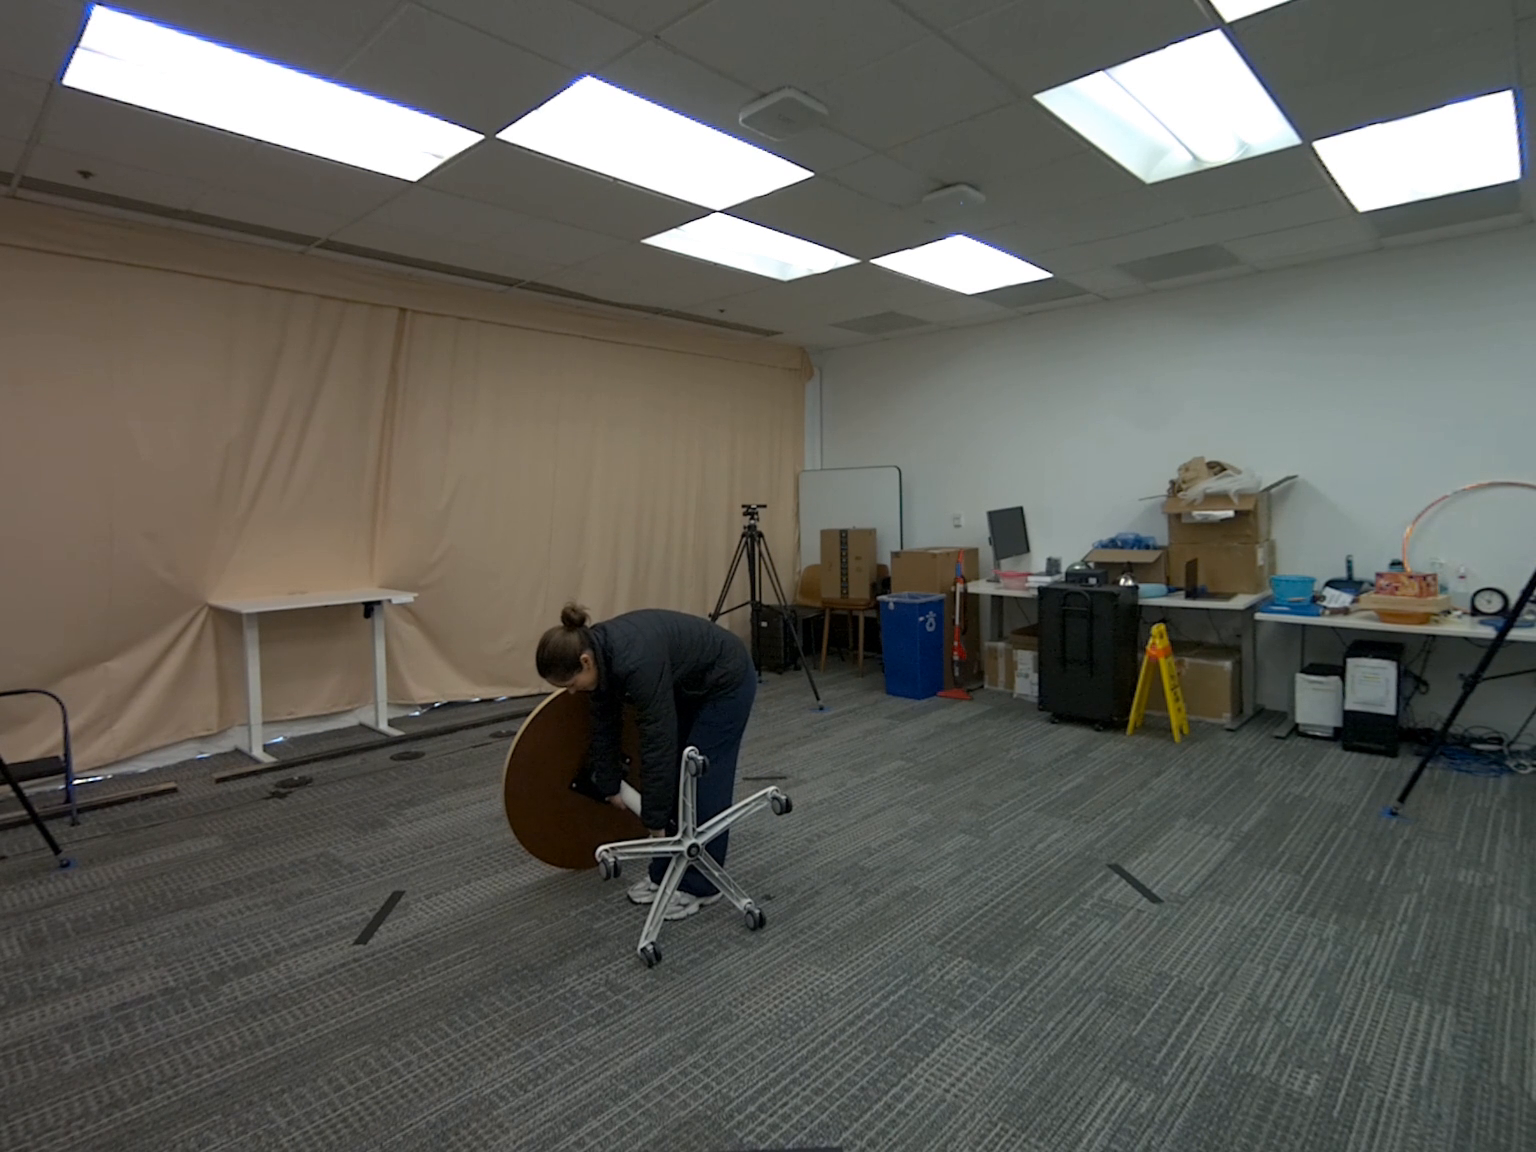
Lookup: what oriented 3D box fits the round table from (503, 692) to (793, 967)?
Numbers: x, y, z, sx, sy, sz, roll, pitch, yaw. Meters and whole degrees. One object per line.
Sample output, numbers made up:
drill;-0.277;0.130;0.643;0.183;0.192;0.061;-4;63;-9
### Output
round table;-0.400;0.818;2.928;0.762;0.781;0.814;-4;11;-36
